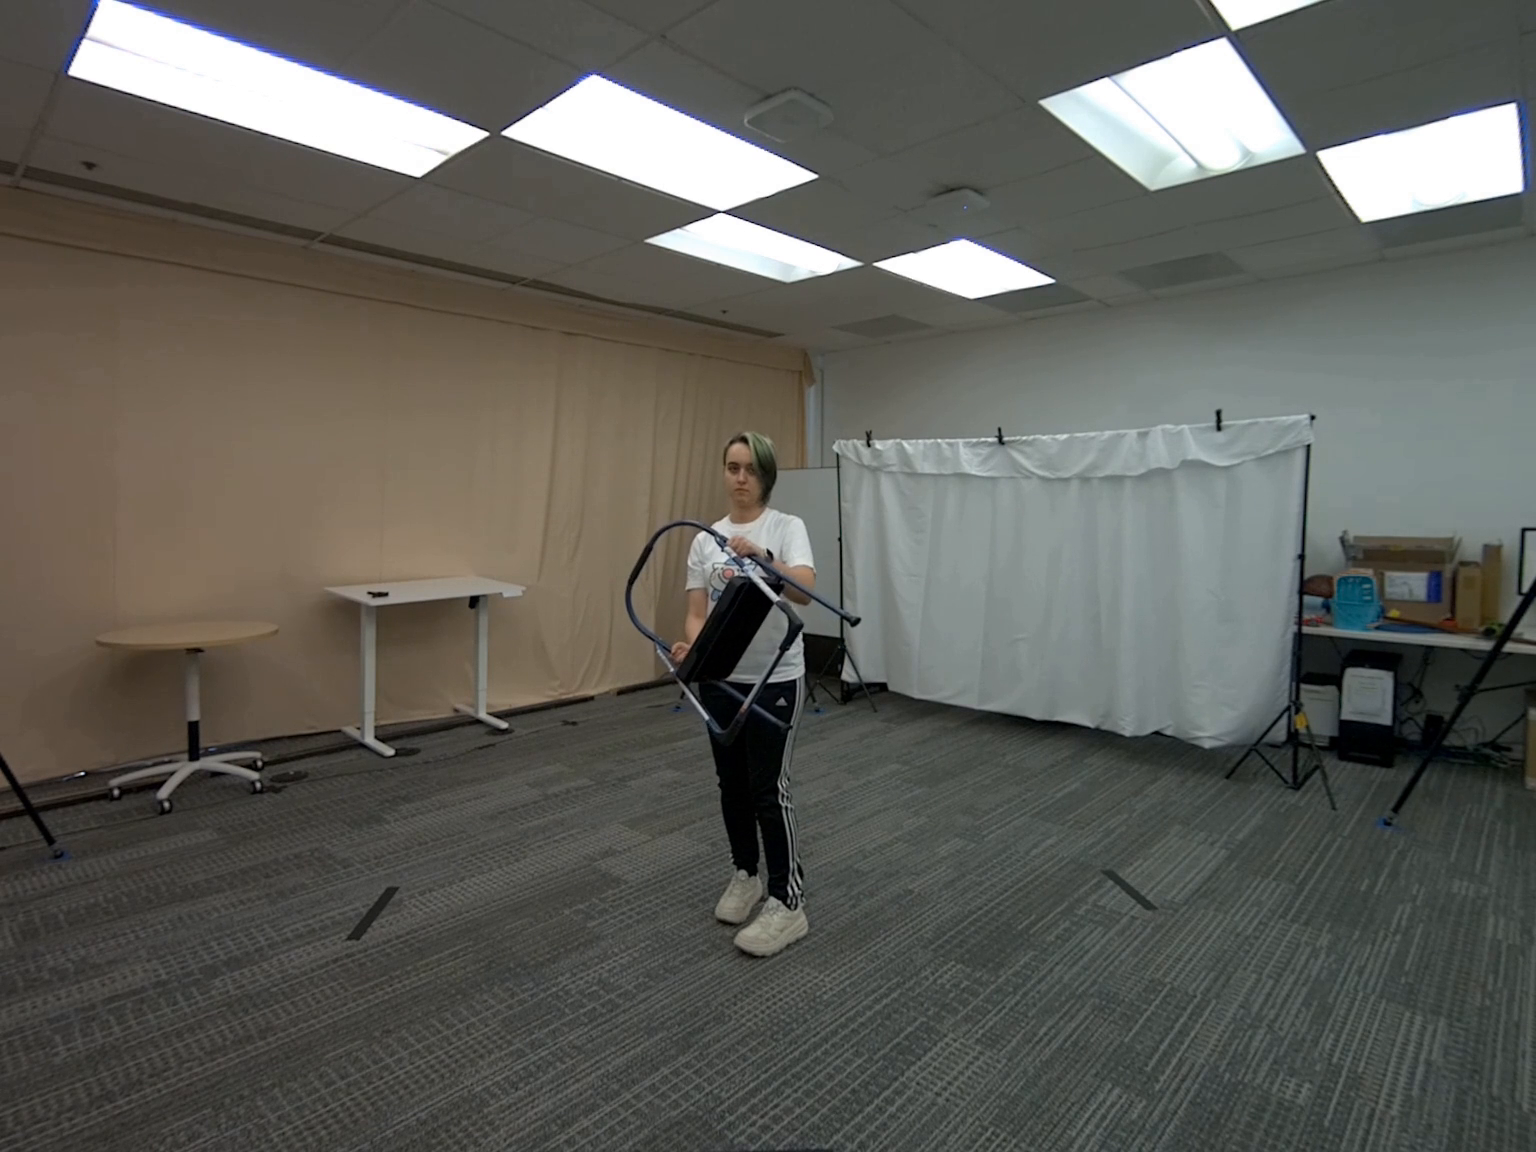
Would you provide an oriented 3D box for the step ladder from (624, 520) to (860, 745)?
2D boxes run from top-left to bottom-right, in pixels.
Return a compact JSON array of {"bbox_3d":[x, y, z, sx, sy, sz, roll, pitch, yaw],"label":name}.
[{"bbox_3d":[-0.135,0.126,2.473,0.625,0.430,0.338,39,18,28],"label":"step ladder"}]
